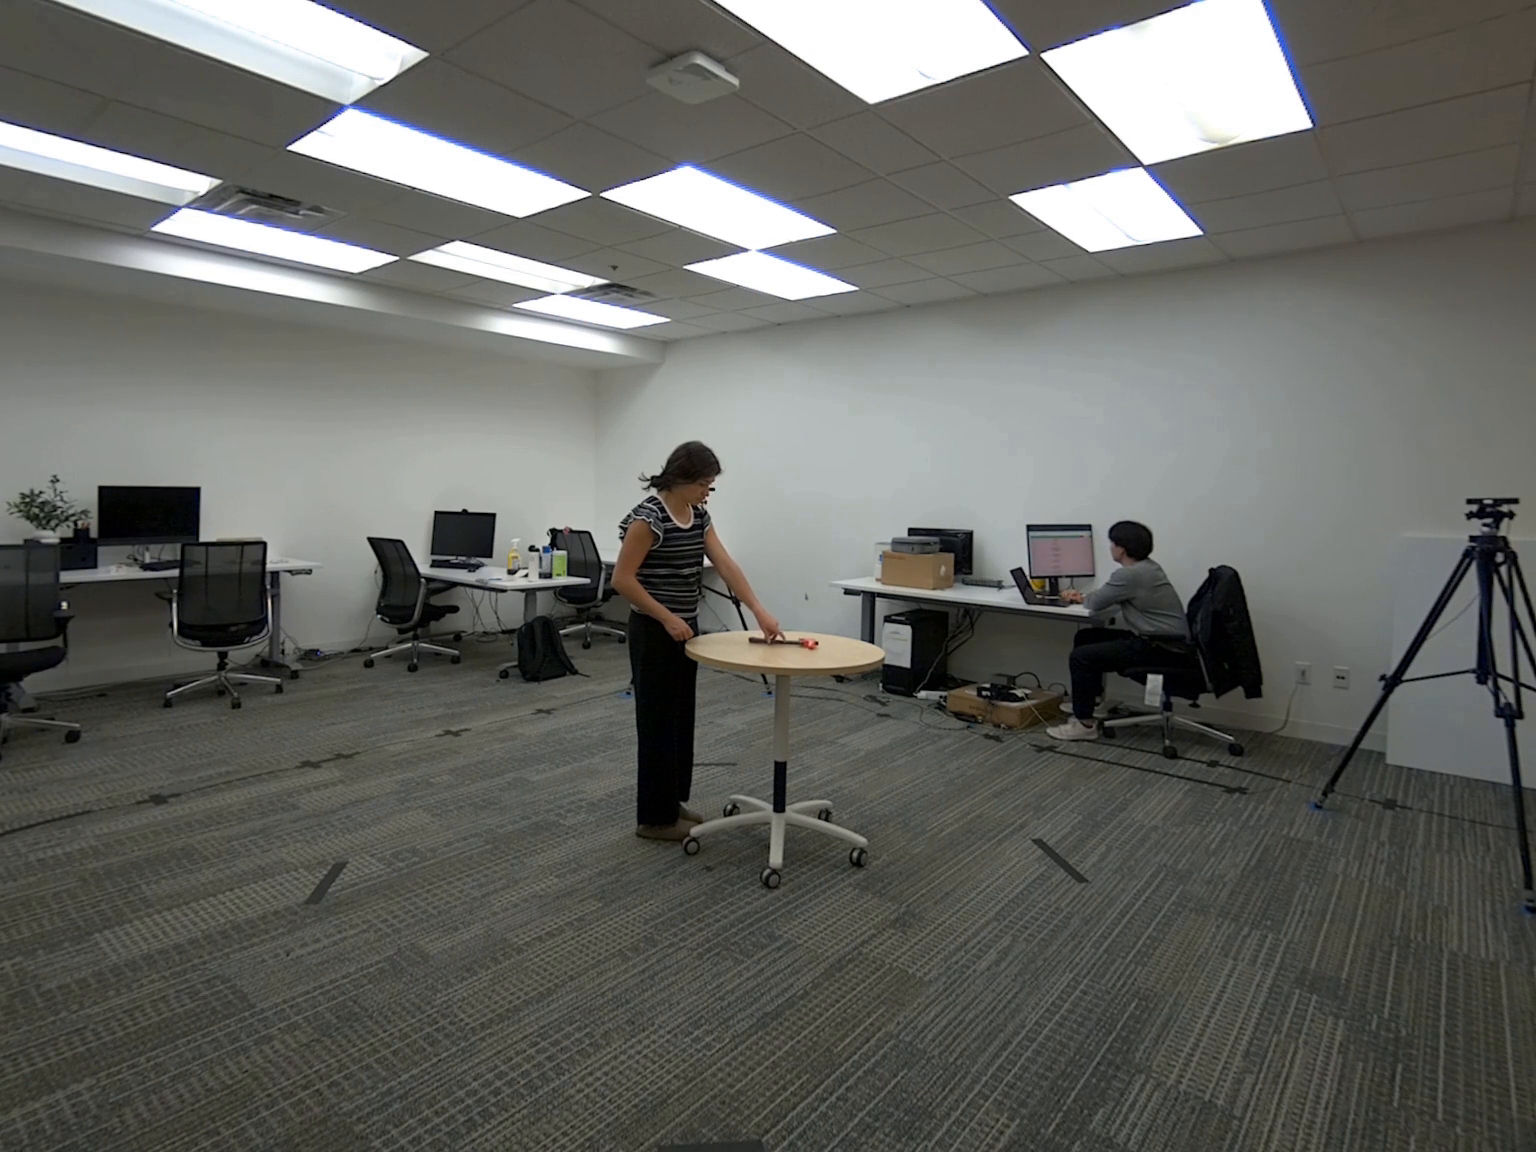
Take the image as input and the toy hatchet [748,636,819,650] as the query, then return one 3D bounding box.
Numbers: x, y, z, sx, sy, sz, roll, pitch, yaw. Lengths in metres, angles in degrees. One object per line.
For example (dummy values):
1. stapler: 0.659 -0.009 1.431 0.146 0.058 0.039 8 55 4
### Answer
1. toy hatchet: 0.051 0.252 3.344 0.277 0.029 0.128 2 7 27
